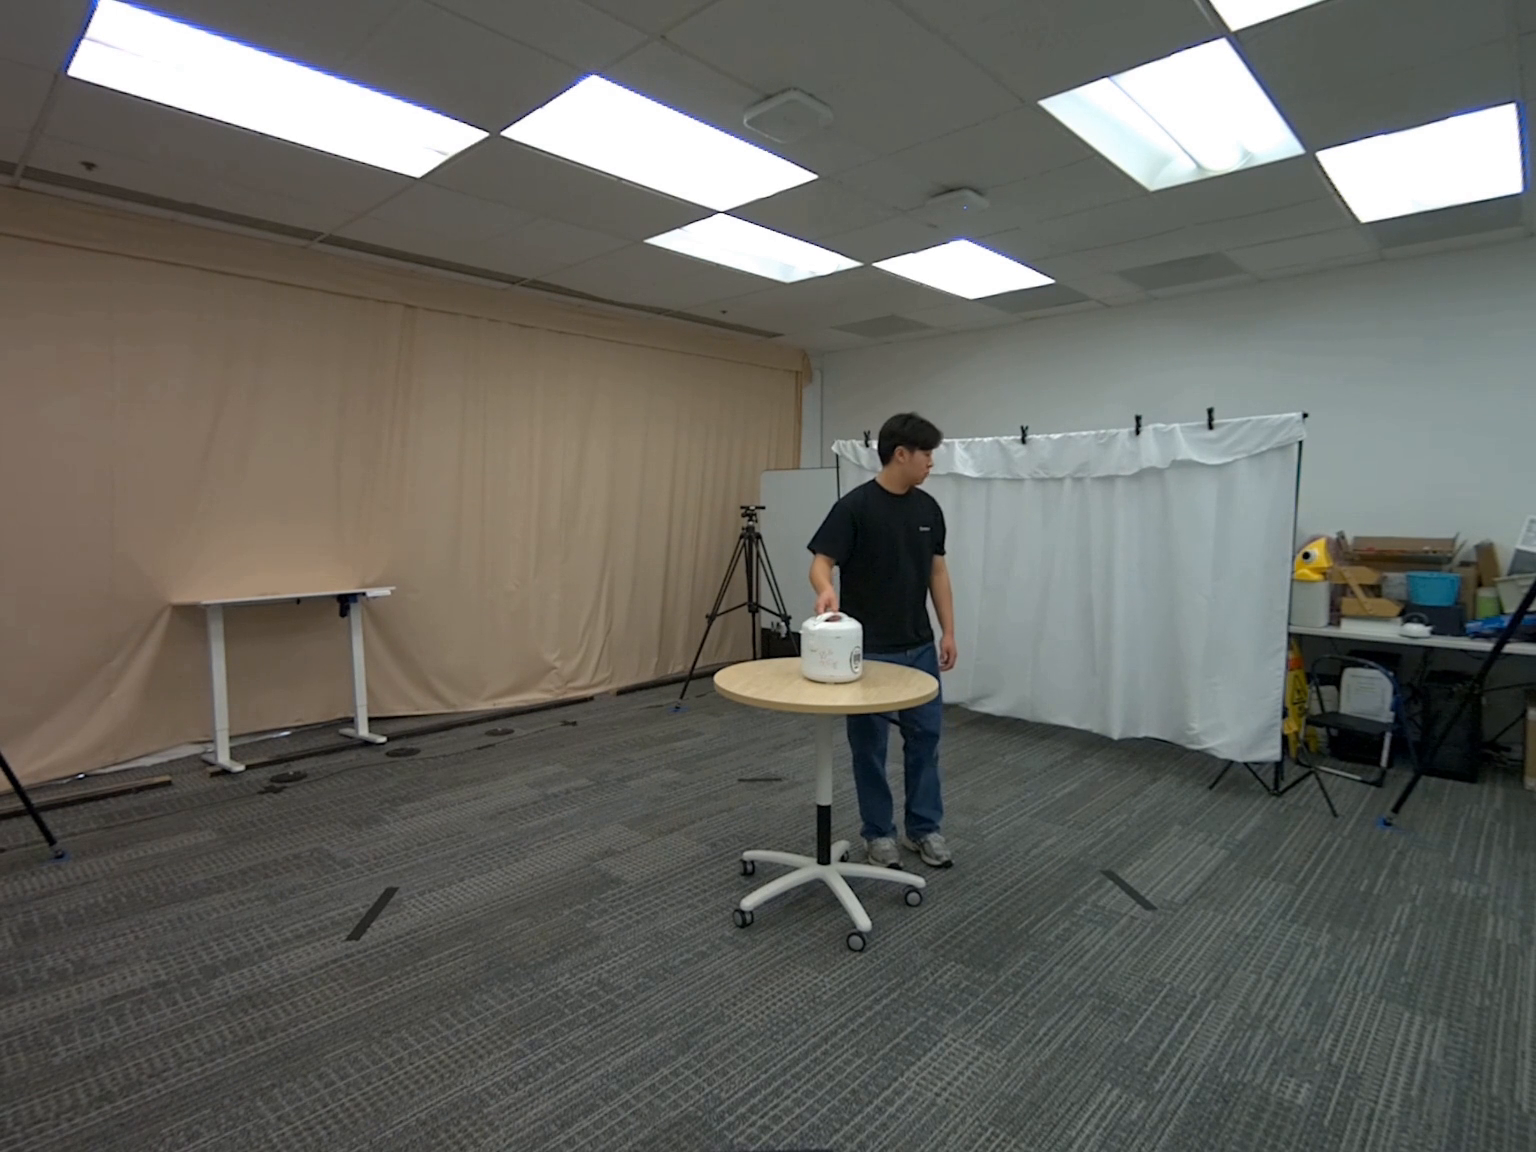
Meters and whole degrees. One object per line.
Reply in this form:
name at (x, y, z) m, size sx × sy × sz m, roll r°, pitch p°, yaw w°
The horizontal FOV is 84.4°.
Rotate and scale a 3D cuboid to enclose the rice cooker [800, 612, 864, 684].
rice cooker at (0.223, 0.238, 2.899) m, size 0.224 × 0.232 × 0.214 m, roll 3°, pitch 5°, yaw 45°
